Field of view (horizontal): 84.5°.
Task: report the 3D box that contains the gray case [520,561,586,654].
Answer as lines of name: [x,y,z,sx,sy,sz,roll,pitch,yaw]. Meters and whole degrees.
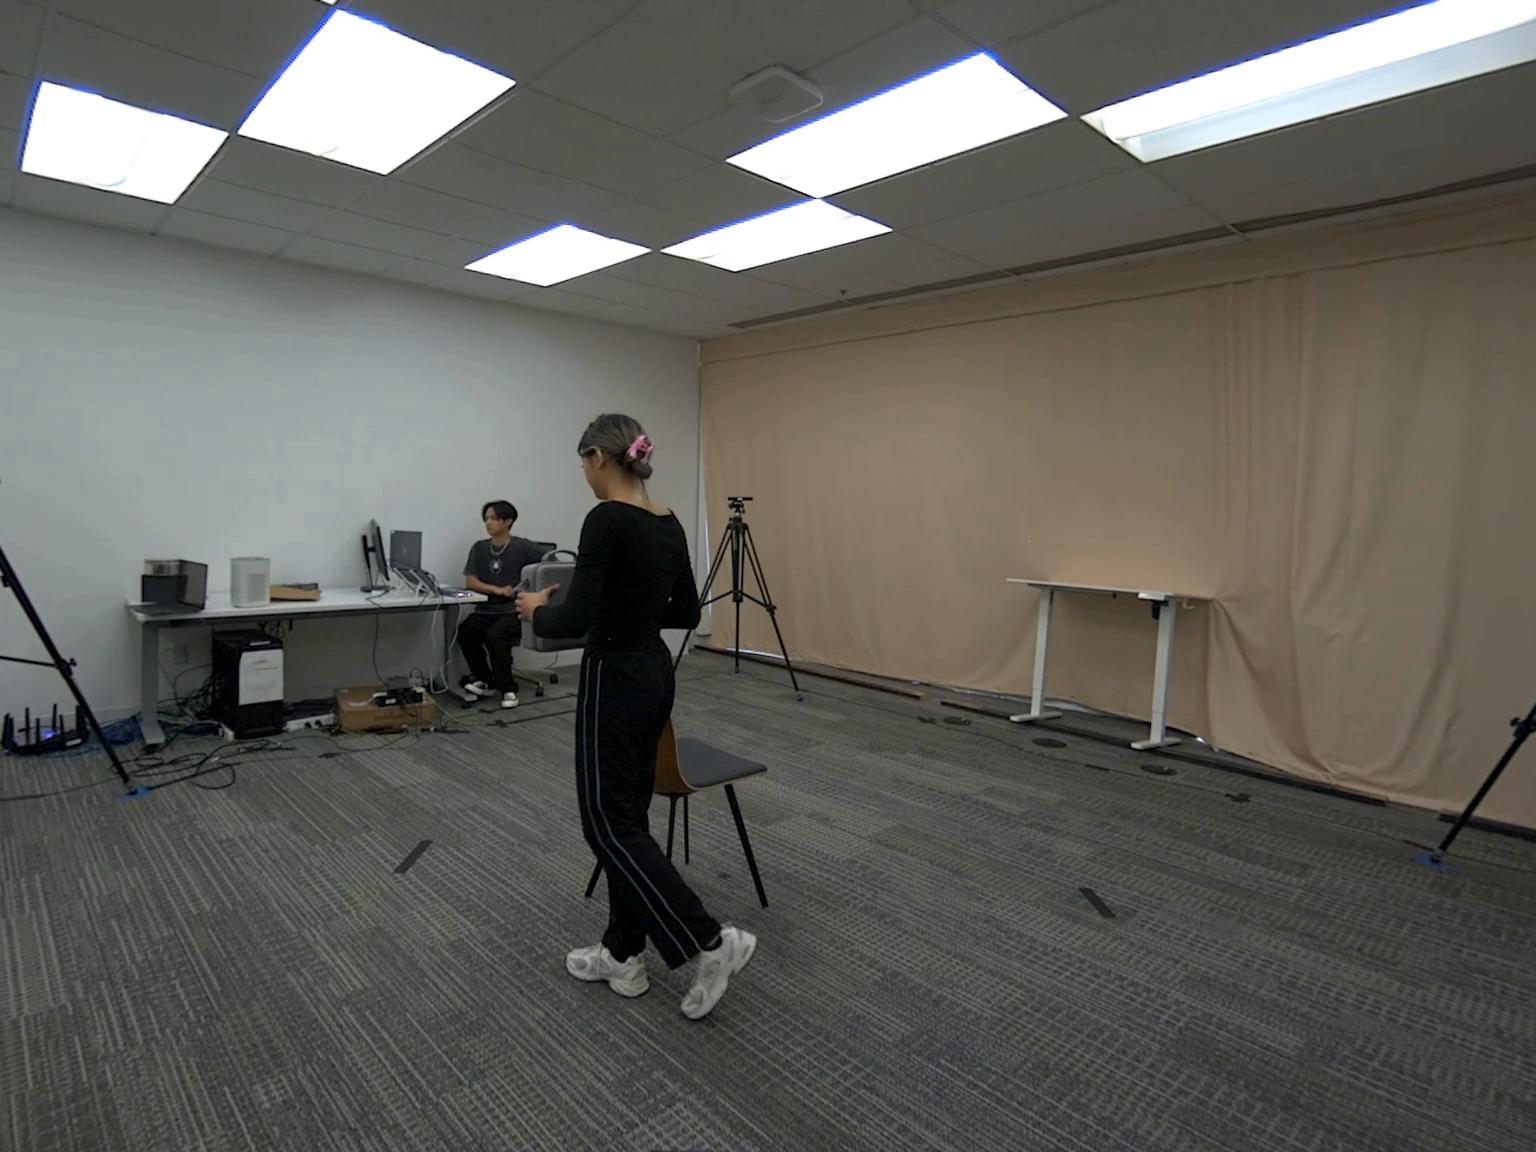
gray case: [-0.601,0.085,2.489,0.106,0.261,0.251,-5,-3,38]
